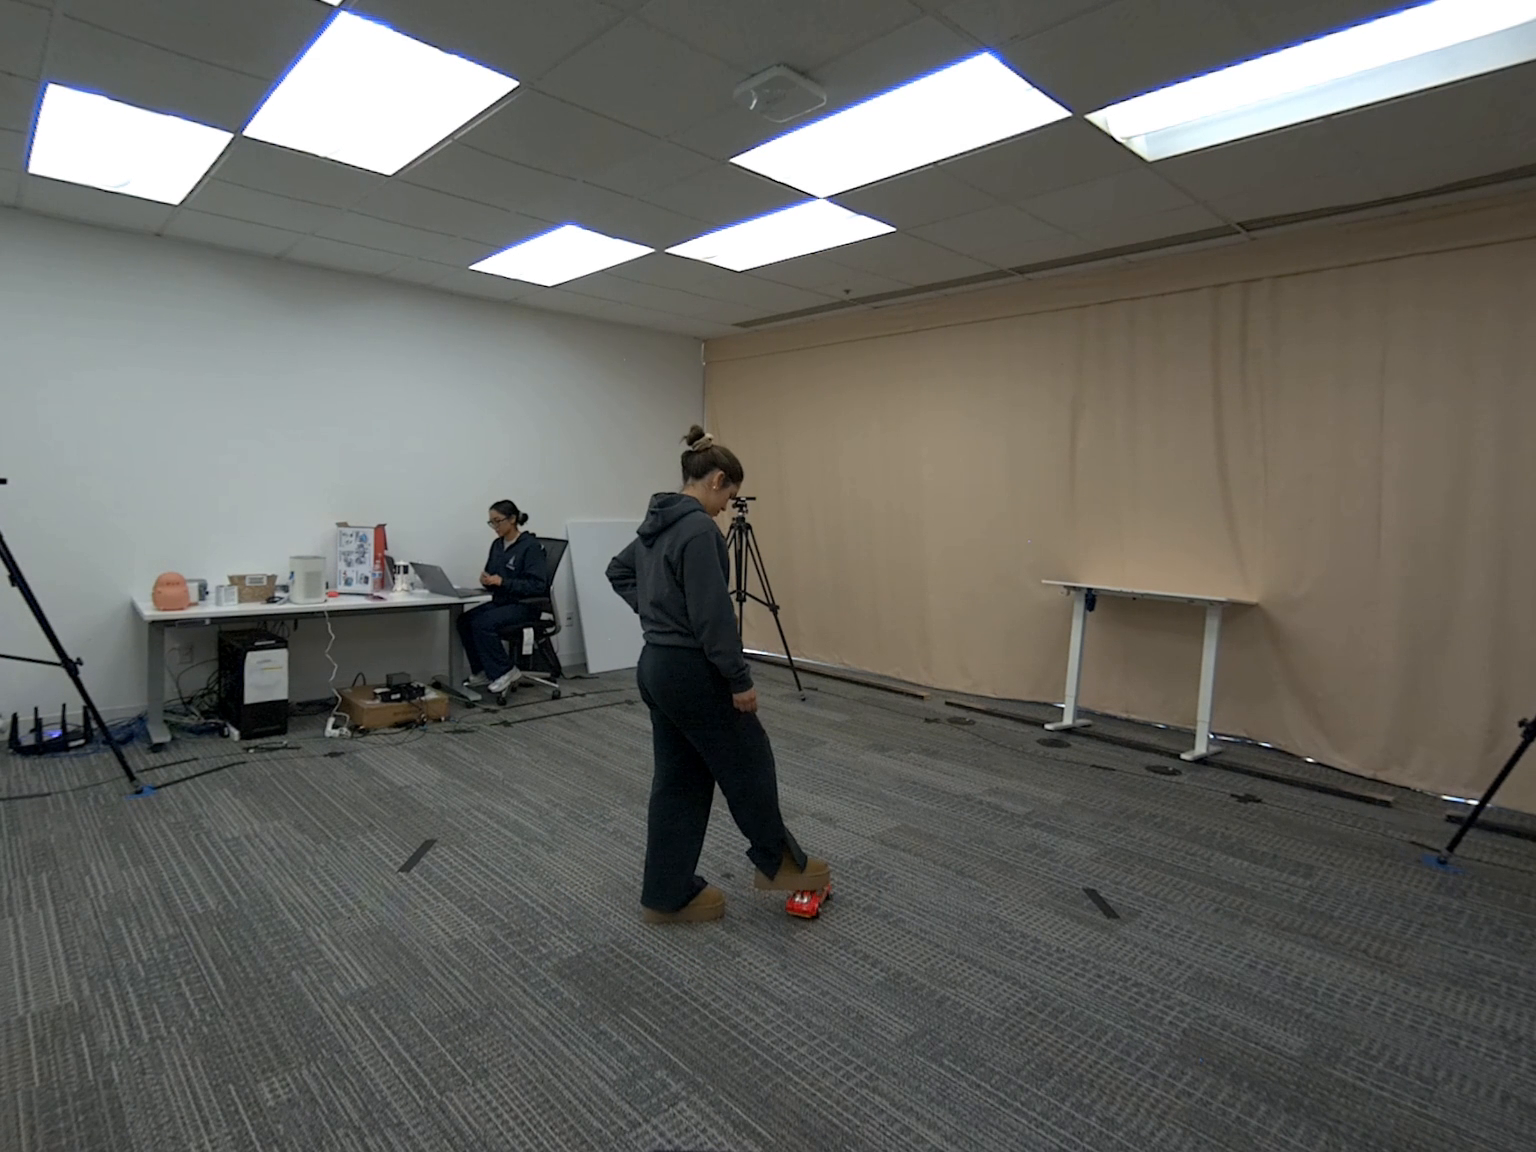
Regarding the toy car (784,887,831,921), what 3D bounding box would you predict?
[{"bbox_3d":[0.125,1.105,2.872,0.132,0.083,0.249,3,-5,20],"label":"toy car"}]
